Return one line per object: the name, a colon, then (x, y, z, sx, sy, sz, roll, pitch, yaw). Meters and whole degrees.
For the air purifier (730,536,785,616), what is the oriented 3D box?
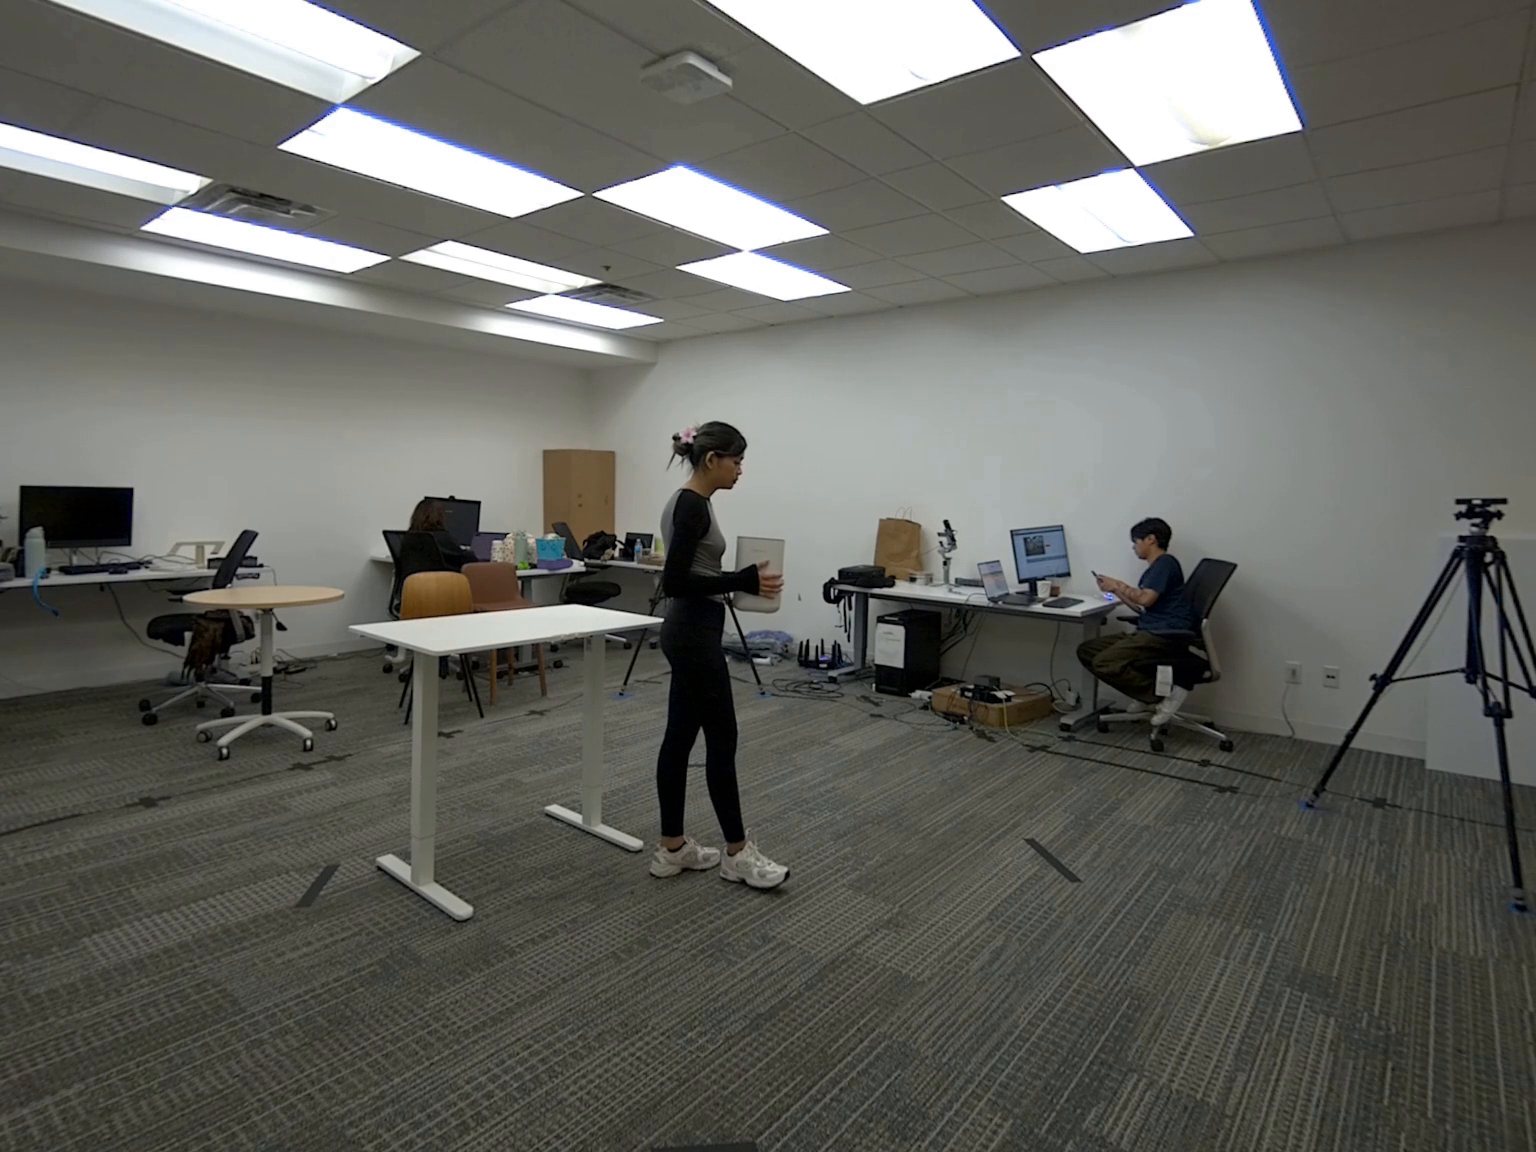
air purifier: (-0.037, -0.004, 3.044, 0.172, 0.265, 0.170, 4, 0, 4)
